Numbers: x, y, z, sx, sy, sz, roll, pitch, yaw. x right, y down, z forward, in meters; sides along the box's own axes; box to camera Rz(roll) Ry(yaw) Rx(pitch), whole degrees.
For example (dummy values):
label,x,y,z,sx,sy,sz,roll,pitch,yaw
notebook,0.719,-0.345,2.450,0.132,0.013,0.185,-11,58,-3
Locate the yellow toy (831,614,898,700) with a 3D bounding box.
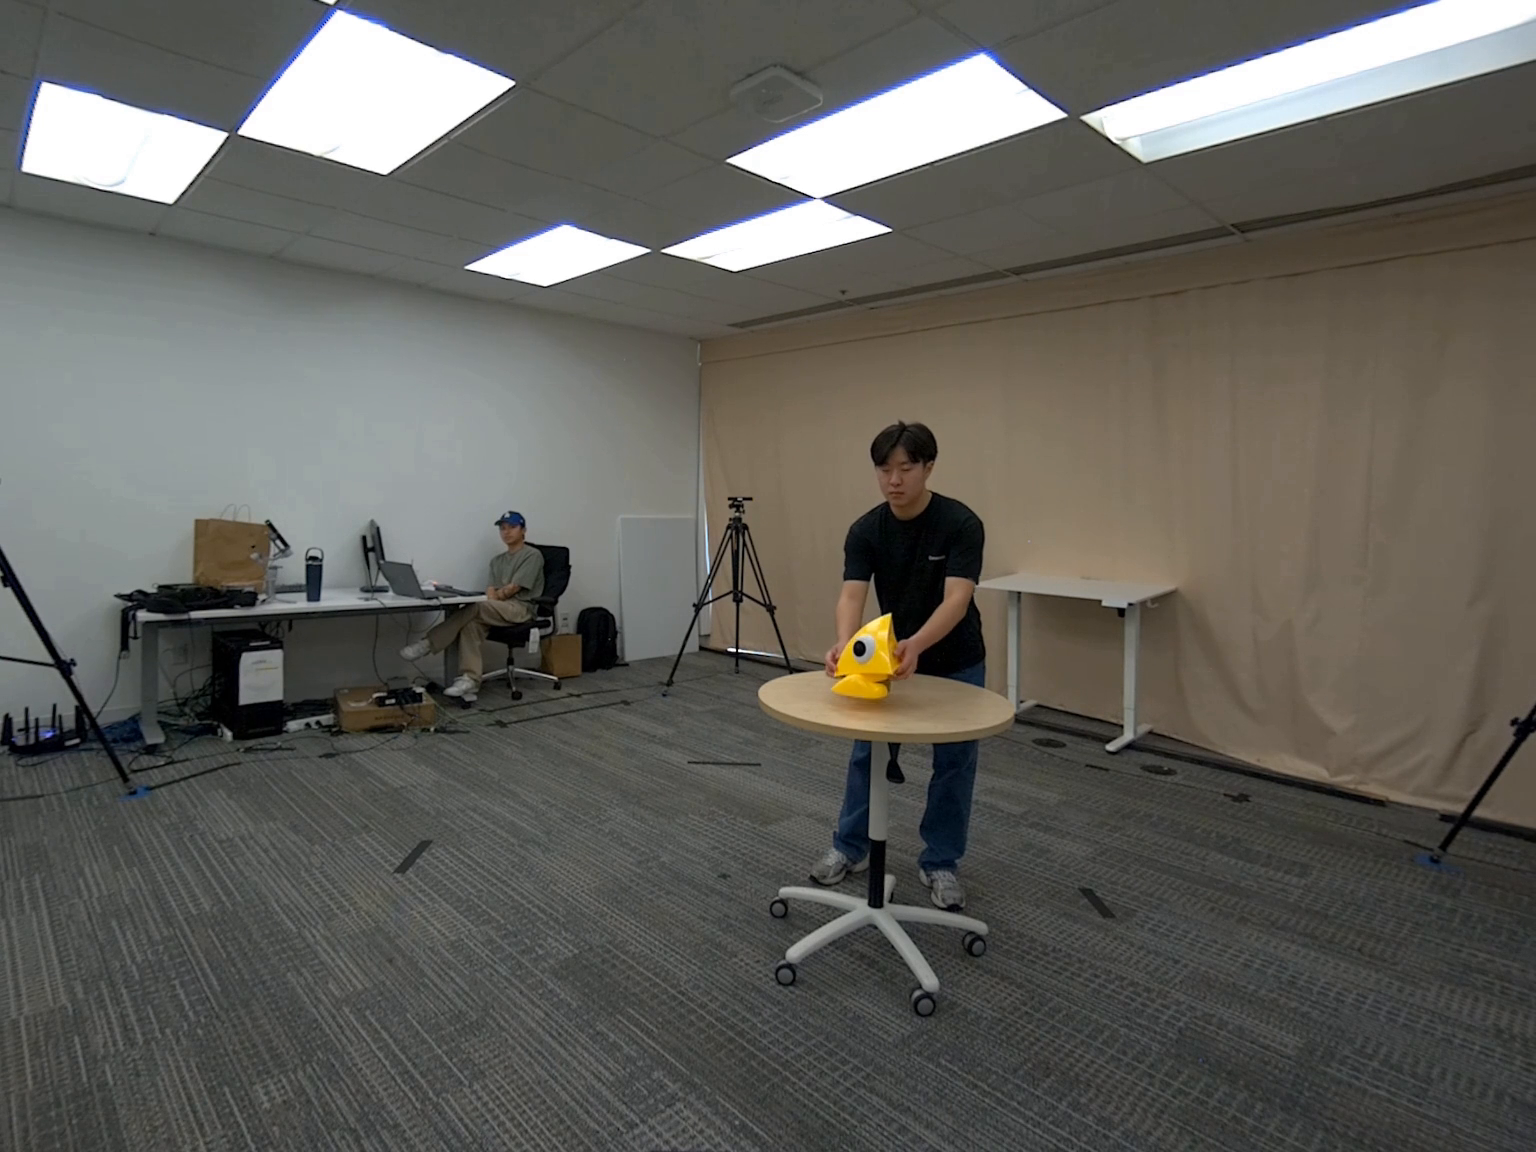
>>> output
label,x,y,z,sx,sy,sz,roll,pitch,yaw
yellow toy,0.292,0.218,2.461,0.196,0.230,0.202,4,5,19
